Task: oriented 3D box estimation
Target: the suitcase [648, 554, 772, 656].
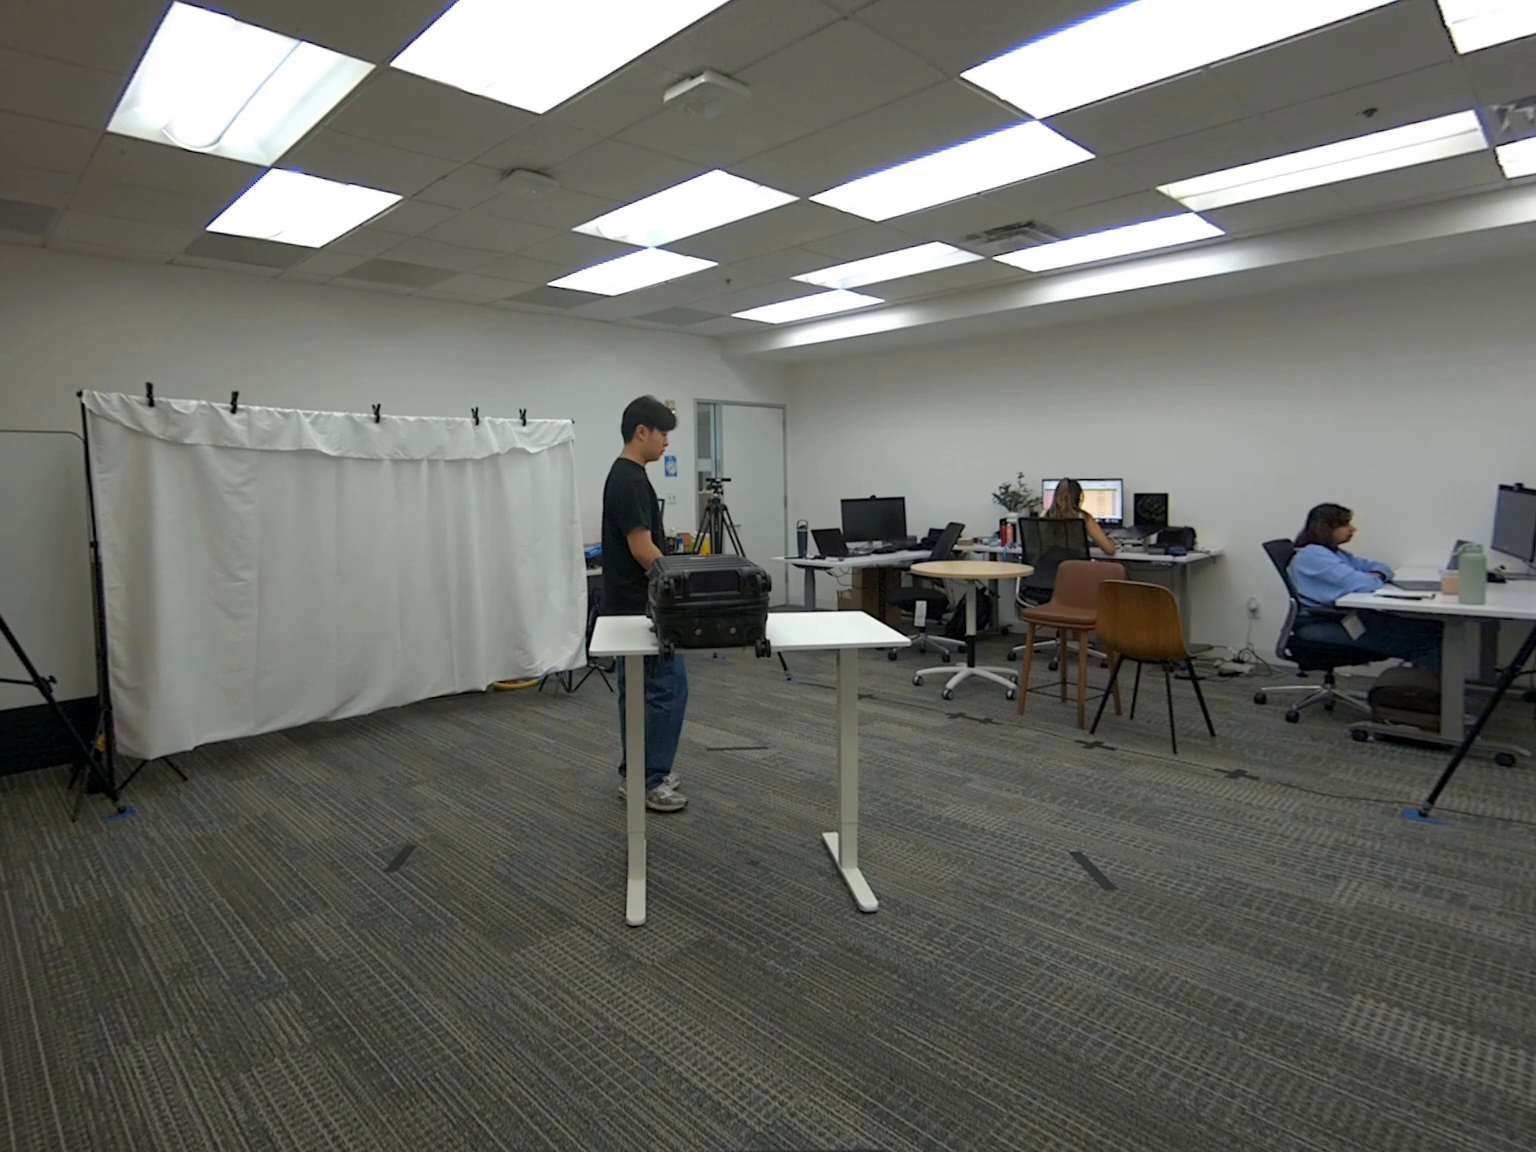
[{"bbox_3d":[-0.238,0.052,2.996,0.381,0.255,0.994,-3,9,-10],"label":"suitcase"}]
